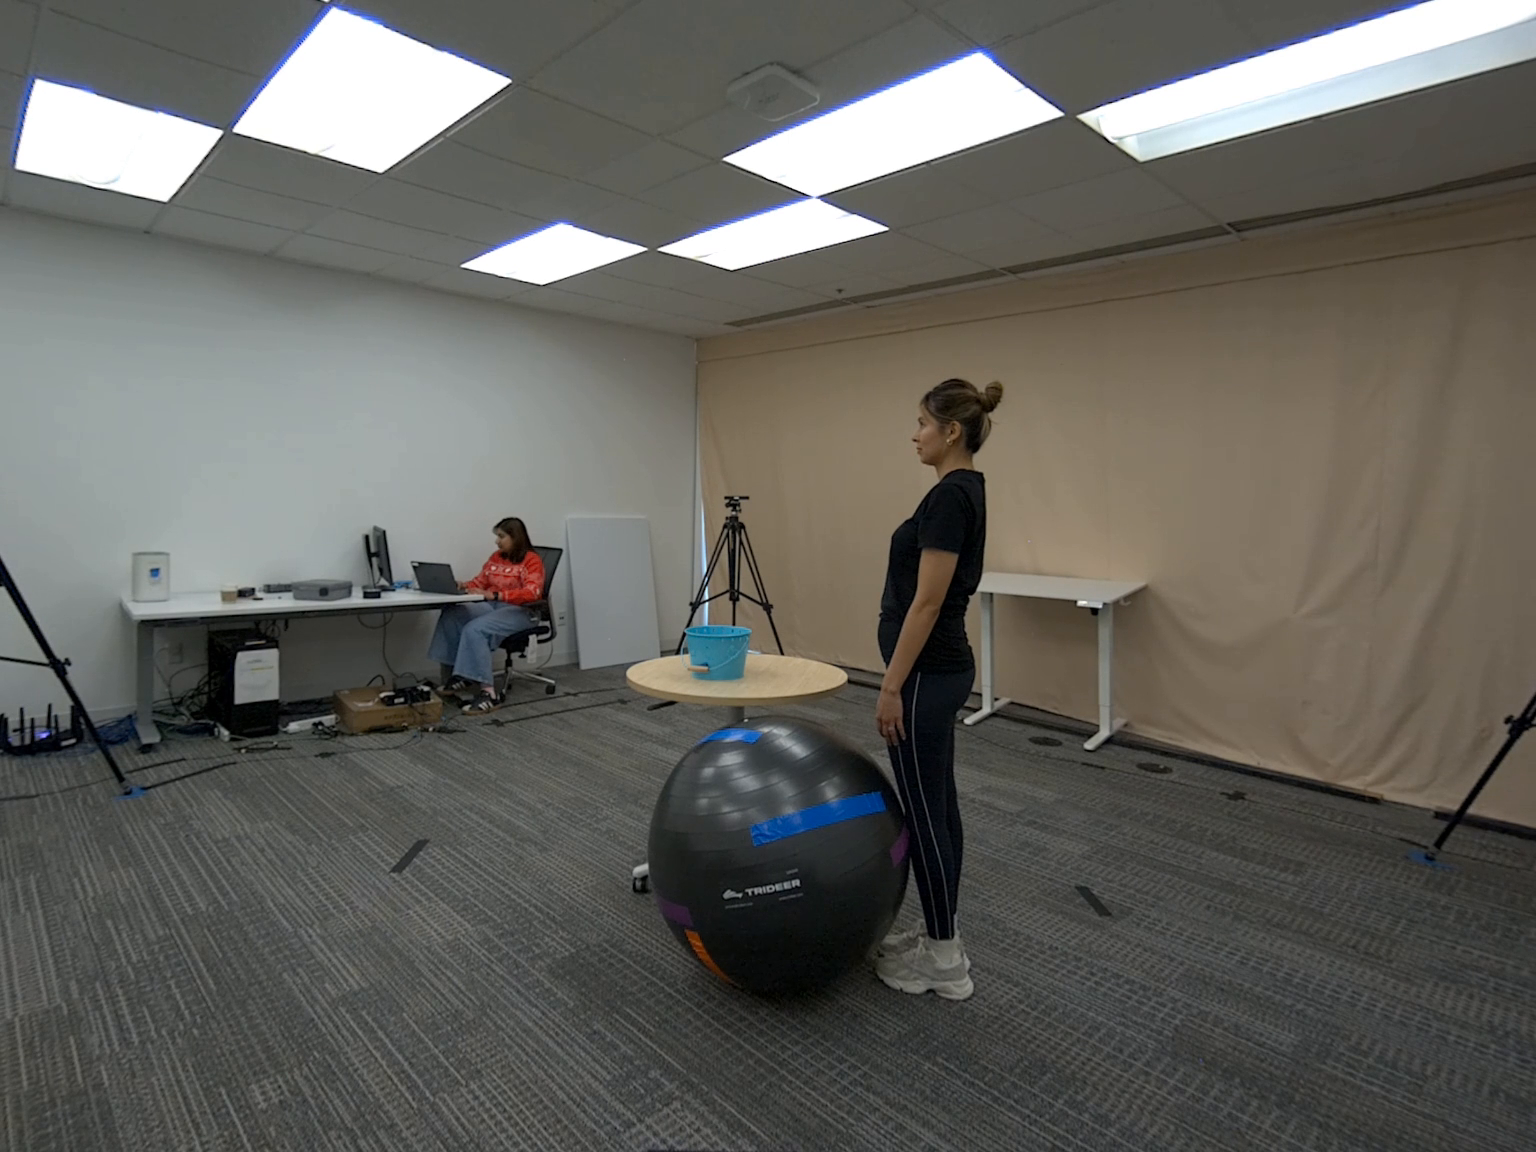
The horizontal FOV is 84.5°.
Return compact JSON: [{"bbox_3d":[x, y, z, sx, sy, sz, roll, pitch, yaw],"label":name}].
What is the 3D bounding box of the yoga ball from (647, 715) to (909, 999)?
[{"bbox_3d":[0.026,0.807,2.439,0.757,0.756,0.761,1,4,-1],"label":"yoga ball"}]
